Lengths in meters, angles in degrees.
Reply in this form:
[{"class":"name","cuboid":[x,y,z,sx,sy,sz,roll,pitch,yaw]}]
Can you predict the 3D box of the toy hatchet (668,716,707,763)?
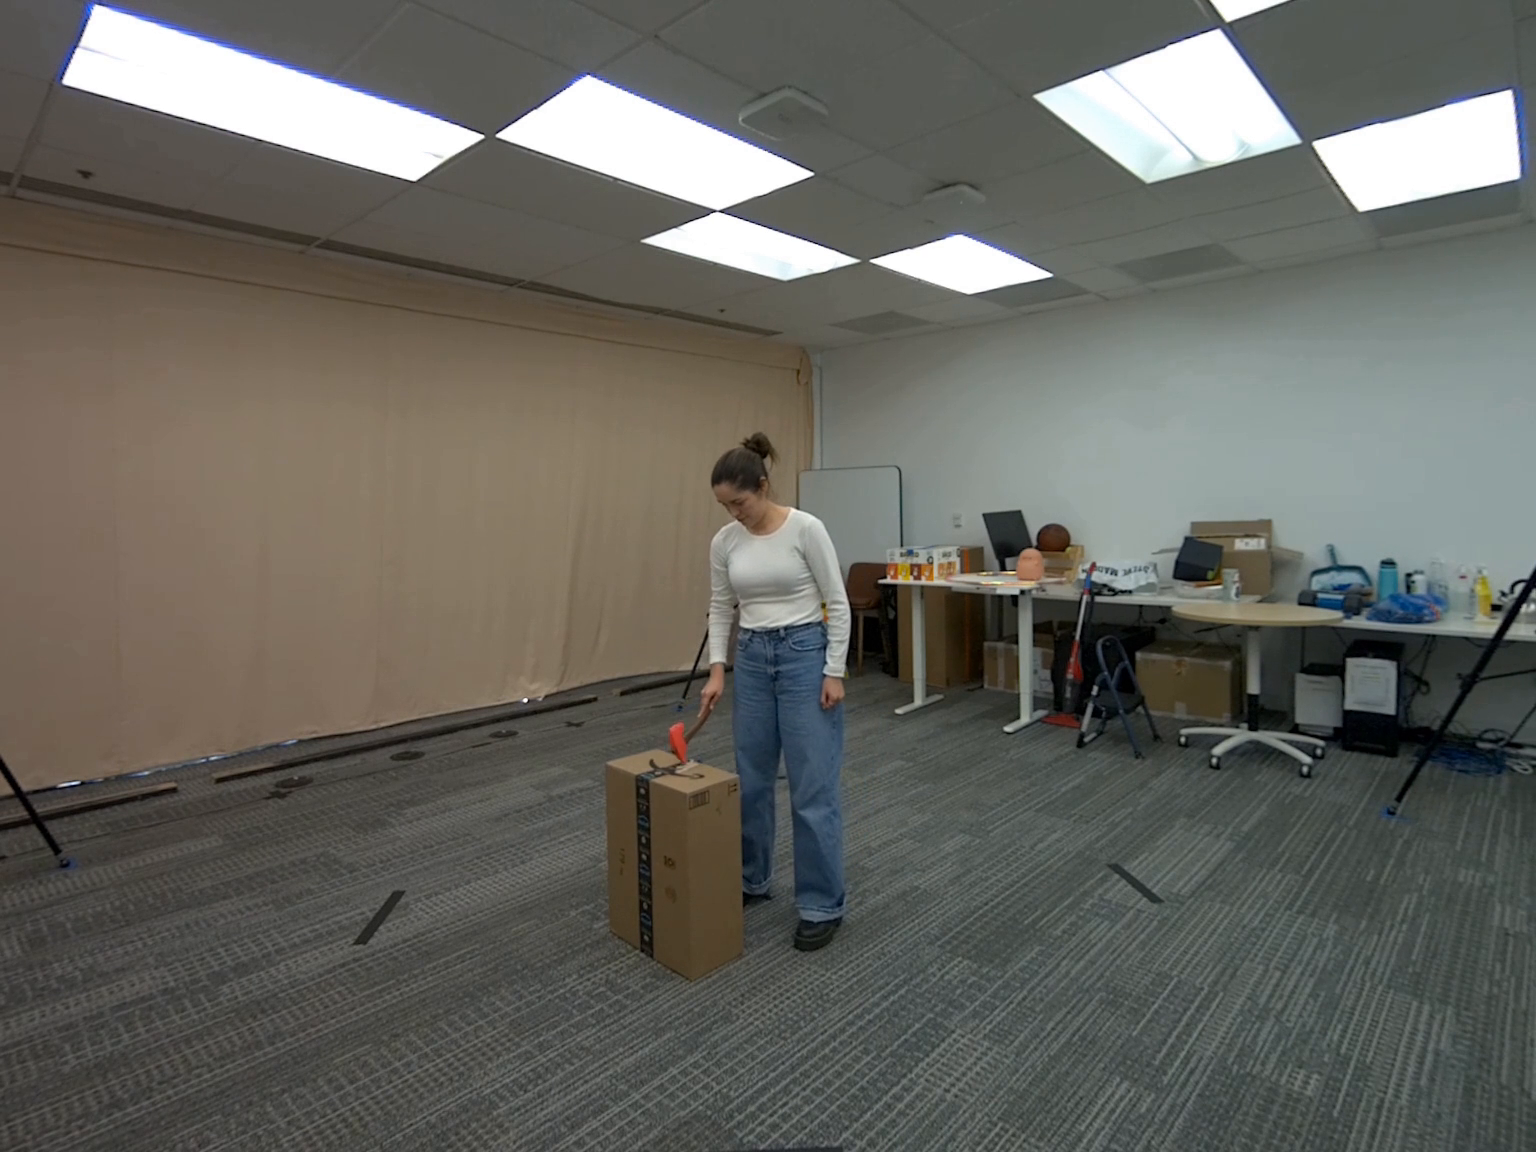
[{"class":"toy hatchet","cuboid":[-0.266,0.470,2.735,0.030,0.127,0.270,-9,39,38]}]
